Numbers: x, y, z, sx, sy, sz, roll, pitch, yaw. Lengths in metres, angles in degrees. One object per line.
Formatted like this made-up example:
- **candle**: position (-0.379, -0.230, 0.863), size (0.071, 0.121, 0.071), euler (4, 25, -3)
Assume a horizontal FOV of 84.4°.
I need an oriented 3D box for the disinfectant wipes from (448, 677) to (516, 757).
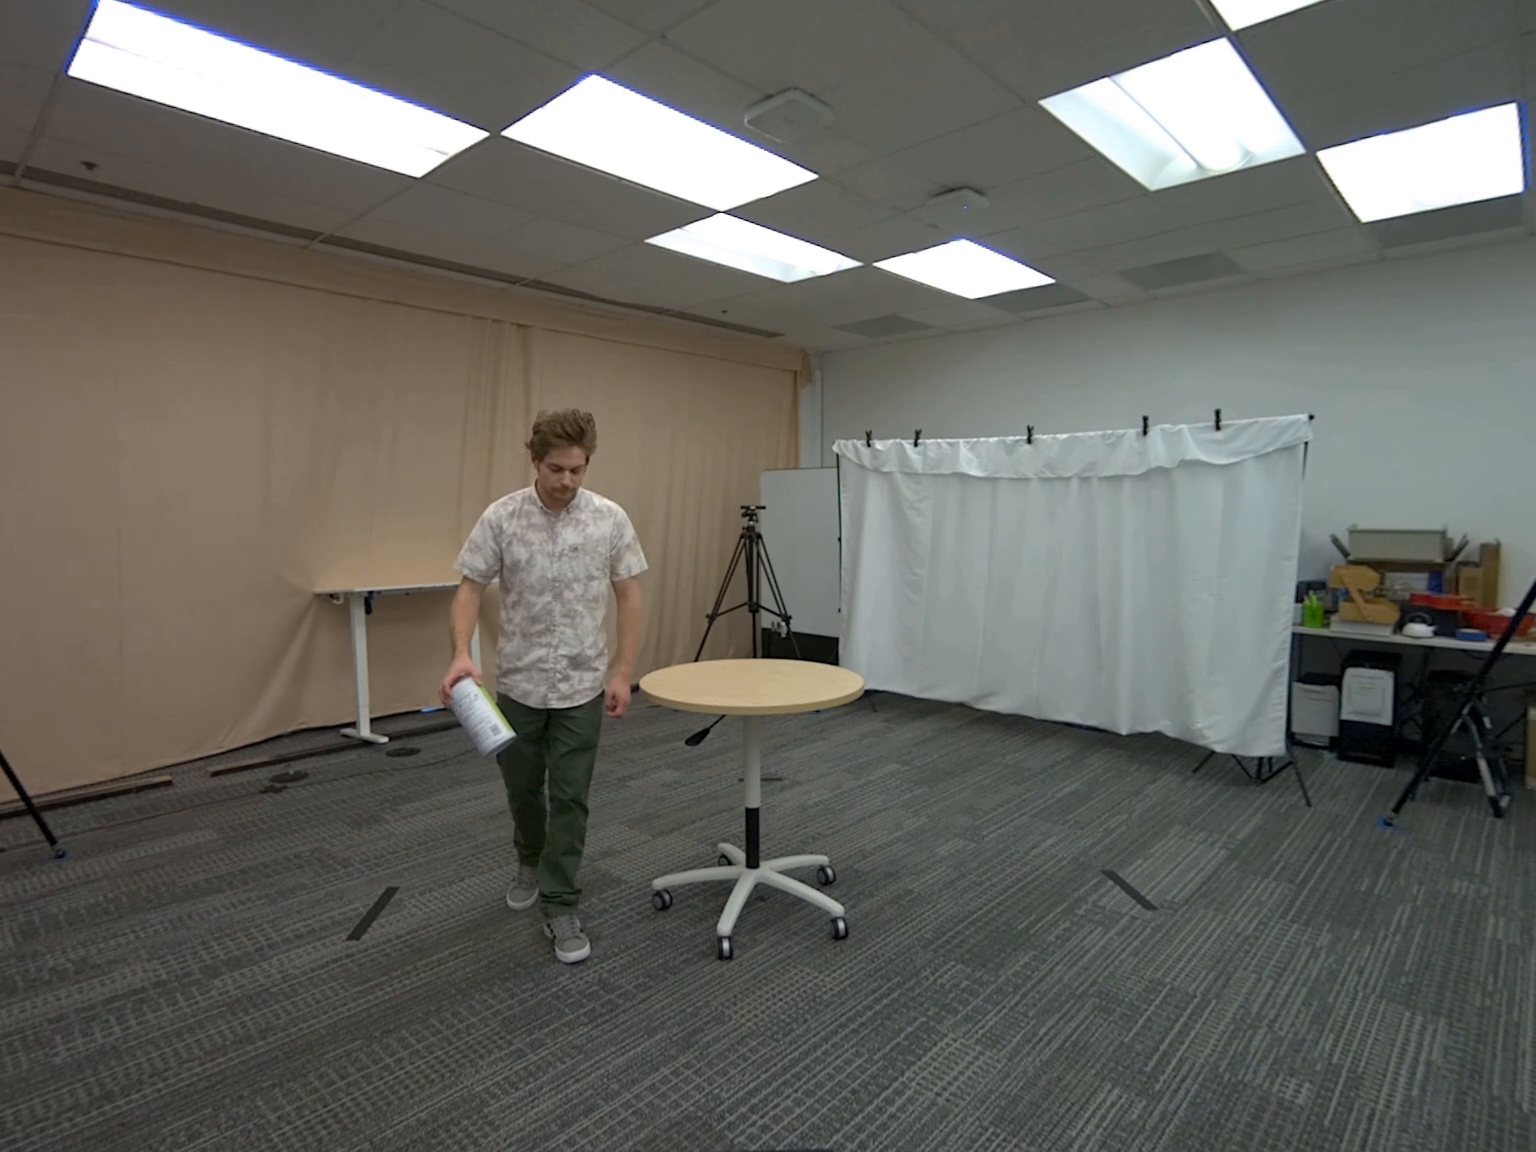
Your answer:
- **disinfectant wipes**: position (-0.819, 0.404, 2.419), size (0.117, 0.220, 0.117), euler (-35, -10, -9)
